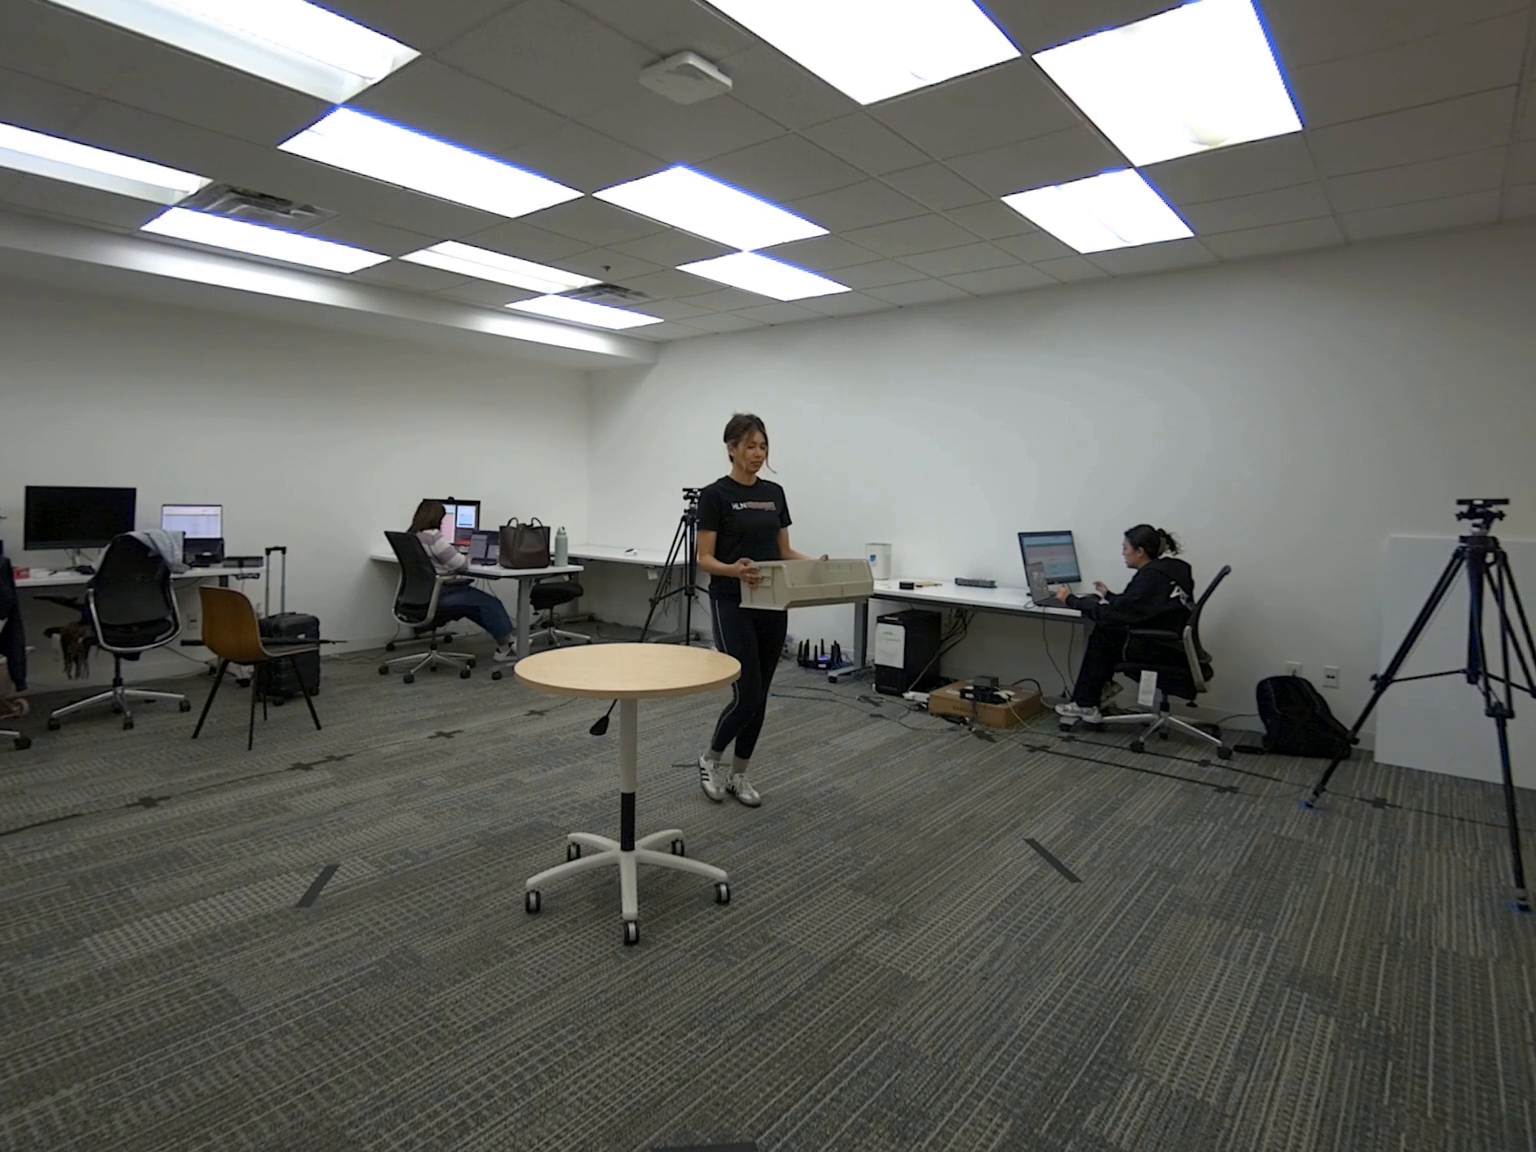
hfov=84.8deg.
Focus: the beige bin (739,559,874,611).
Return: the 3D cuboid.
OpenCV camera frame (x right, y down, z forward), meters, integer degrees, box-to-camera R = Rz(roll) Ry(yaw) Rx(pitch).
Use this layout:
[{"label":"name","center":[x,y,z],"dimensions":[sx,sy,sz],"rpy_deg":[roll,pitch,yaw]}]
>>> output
[{"label":"beige bin","center":[0.140,0.027,3.436],"dimensions":[0.411,0.189,0.388],"rpy_deg":[-4,1,-33]}]
